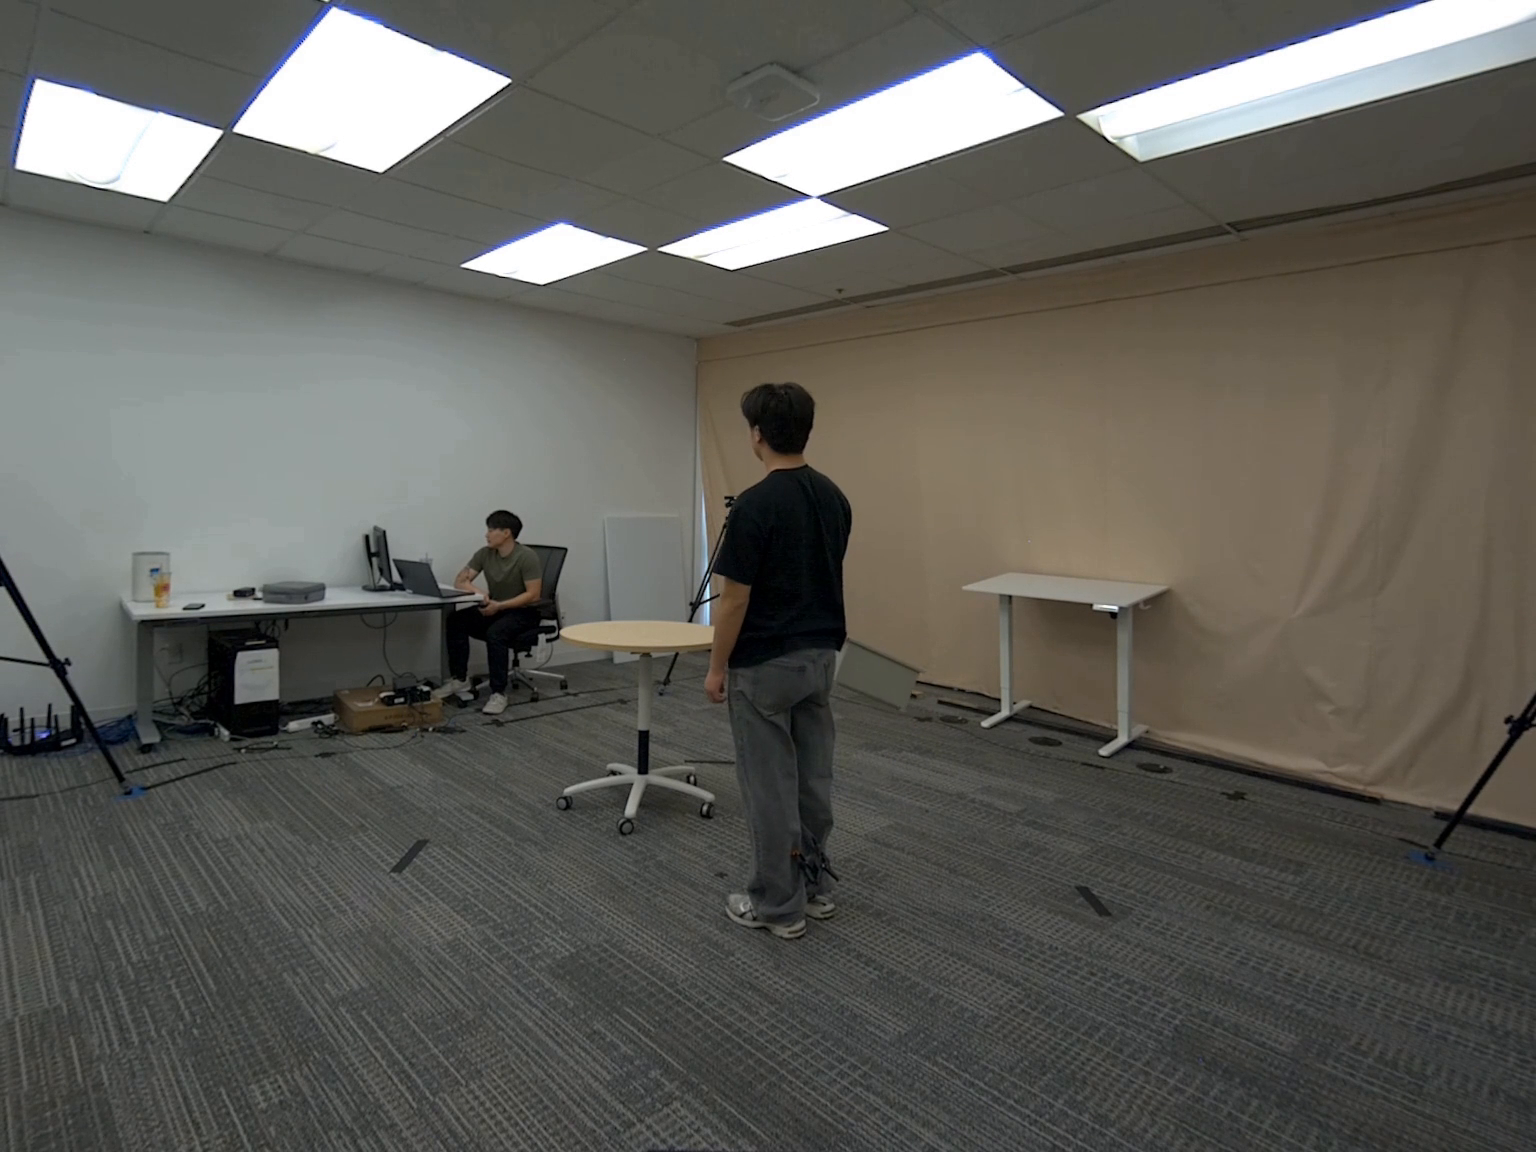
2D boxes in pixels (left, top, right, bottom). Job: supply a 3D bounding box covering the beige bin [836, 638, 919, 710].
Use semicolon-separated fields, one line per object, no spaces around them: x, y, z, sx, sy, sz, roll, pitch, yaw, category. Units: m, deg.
0.315;0.341;3.271;0.411;0.189;0.387;25;-2;-30;beige bin
